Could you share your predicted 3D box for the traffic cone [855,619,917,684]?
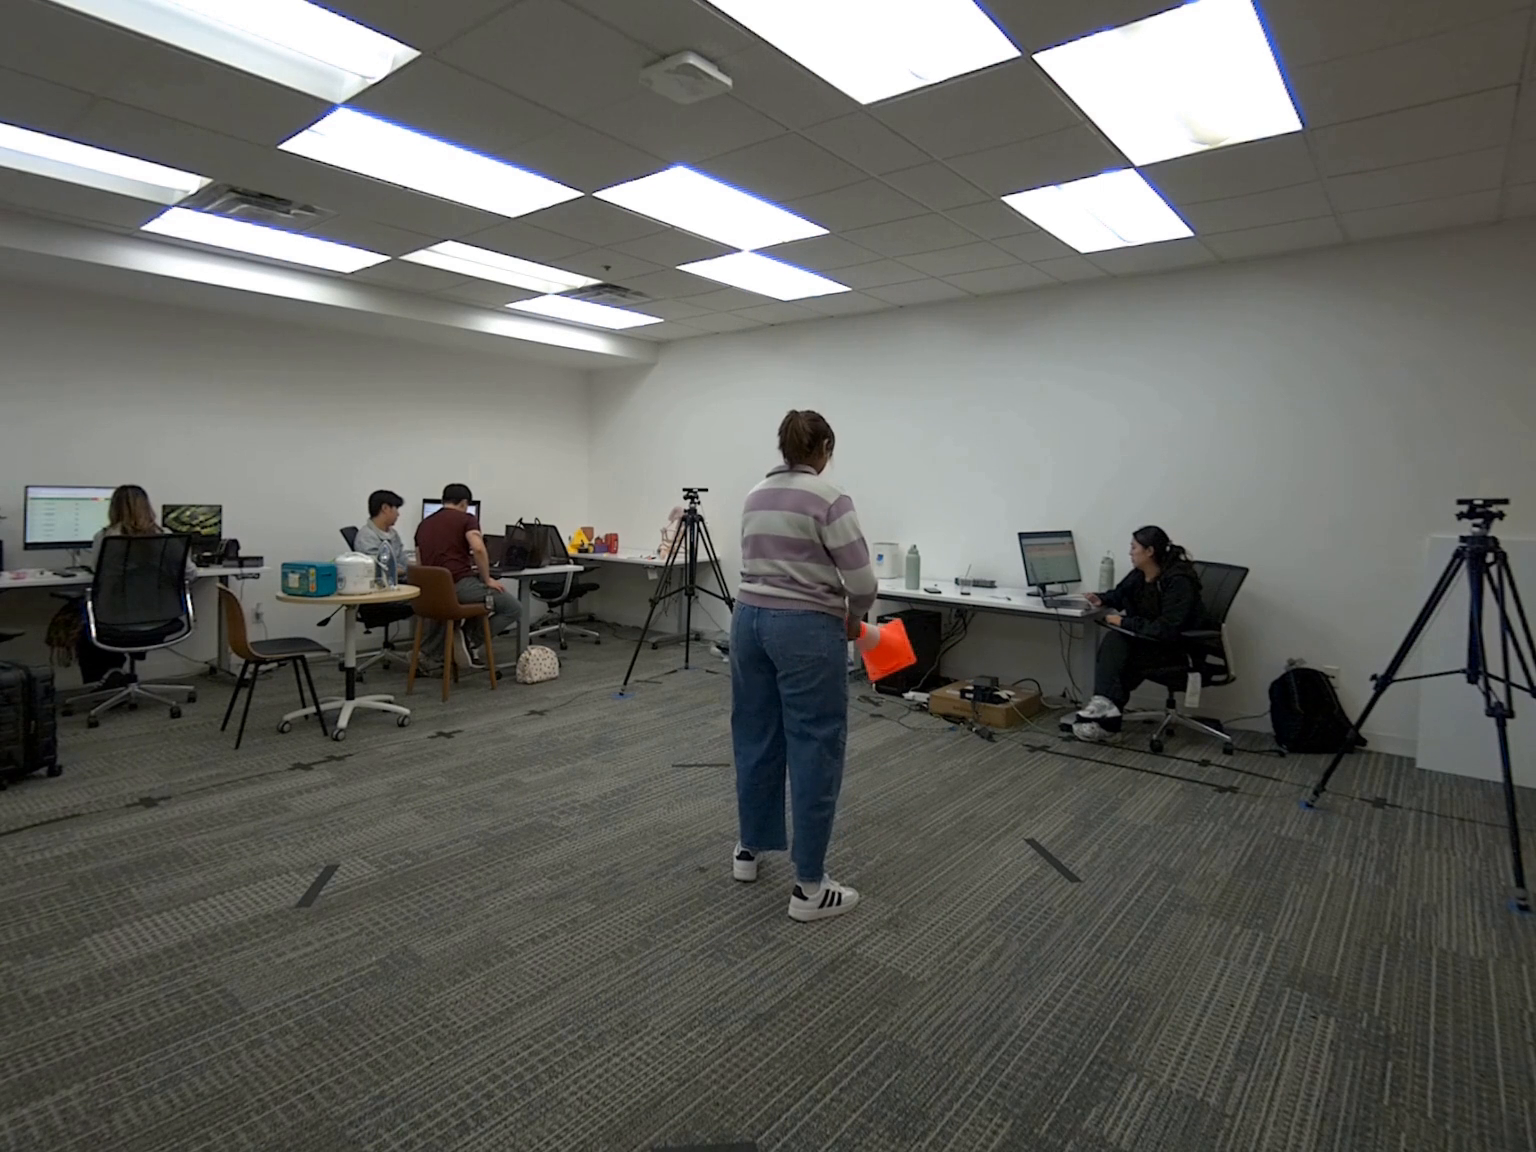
[{"bbox_3d":[0.354,0.225,3.194,0.207,0.210,0.368,-30,-34,20],"label":"traffic cone"}]
